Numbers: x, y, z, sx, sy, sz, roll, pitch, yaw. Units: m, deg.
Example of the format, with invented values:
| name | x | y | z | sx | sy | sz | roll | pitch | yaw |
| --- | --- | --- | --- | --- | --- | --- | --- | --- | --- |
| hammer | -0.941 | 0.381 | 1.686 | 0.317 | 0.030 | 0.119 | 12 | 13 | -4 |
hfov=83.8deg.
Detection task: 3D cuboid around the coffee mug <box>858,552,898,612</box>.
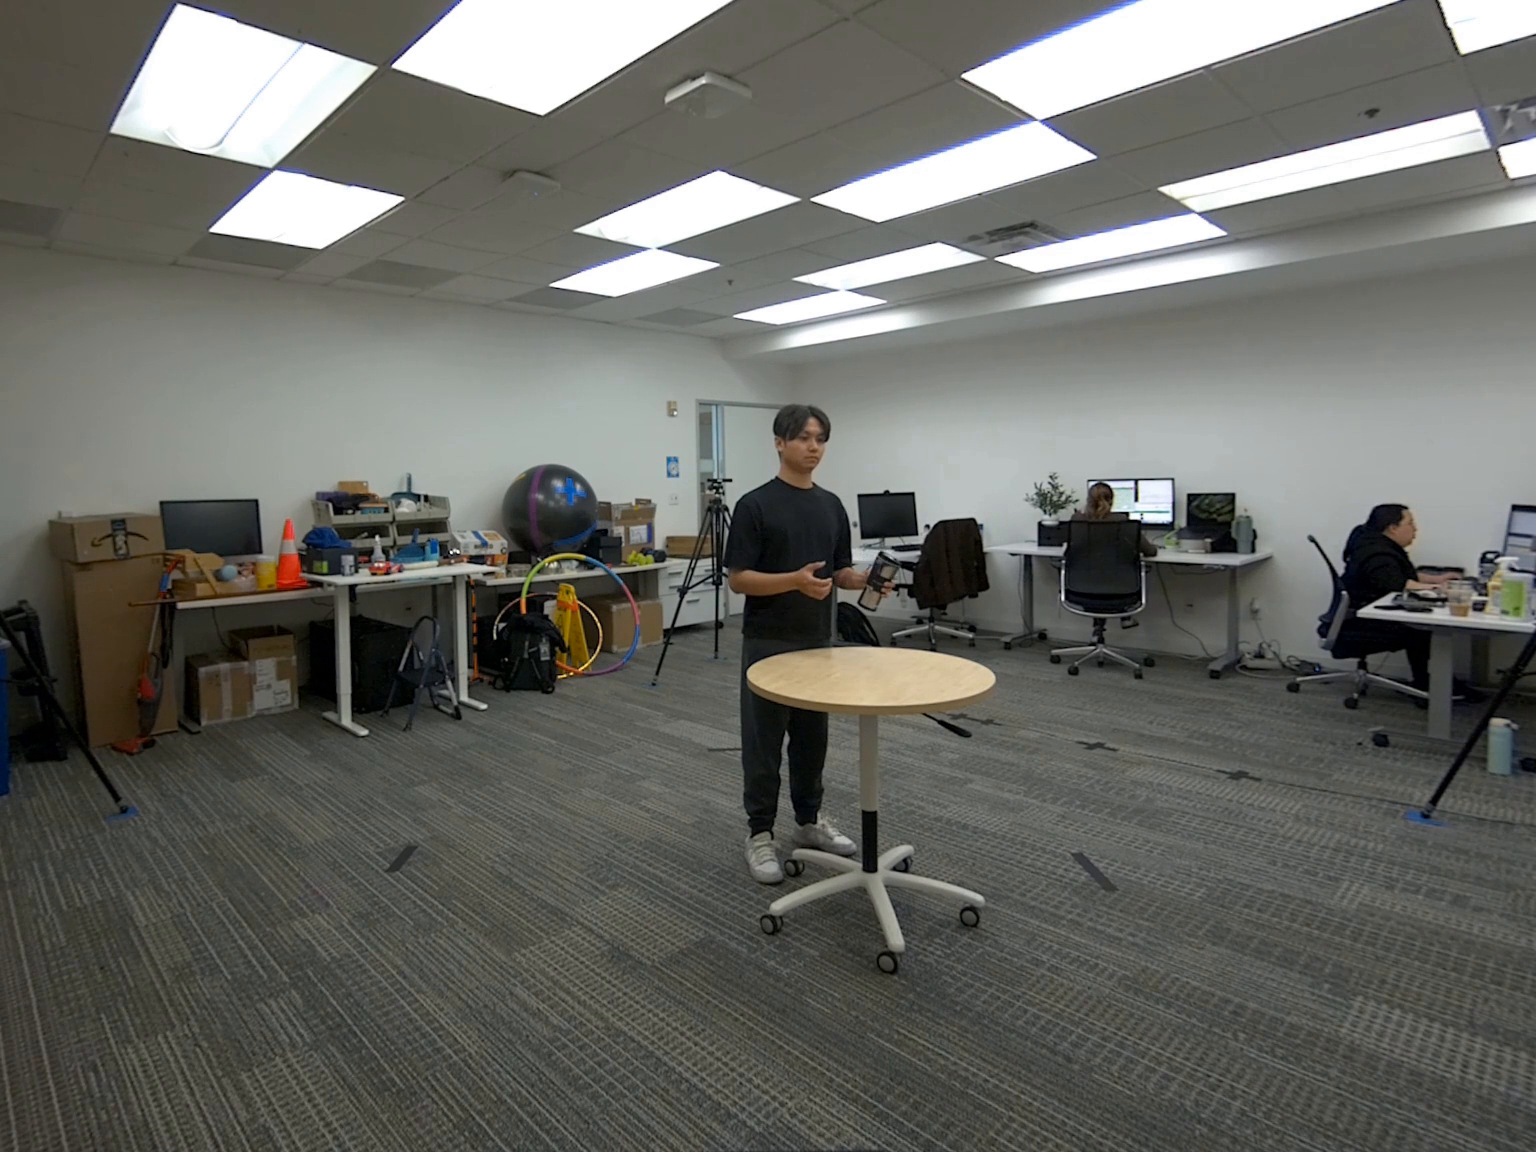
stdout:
| name | x | y | z | sx | sy | sz | roll | pitch | yaw |
| --- | --- | --- | --- | --- | --- | --- | --- | --- | --- |
| coffee mug | 0.355 | 0.015 | 2.986 | 0.118 | 0.202 | 0.091 | 18 | 16 | -35 |
